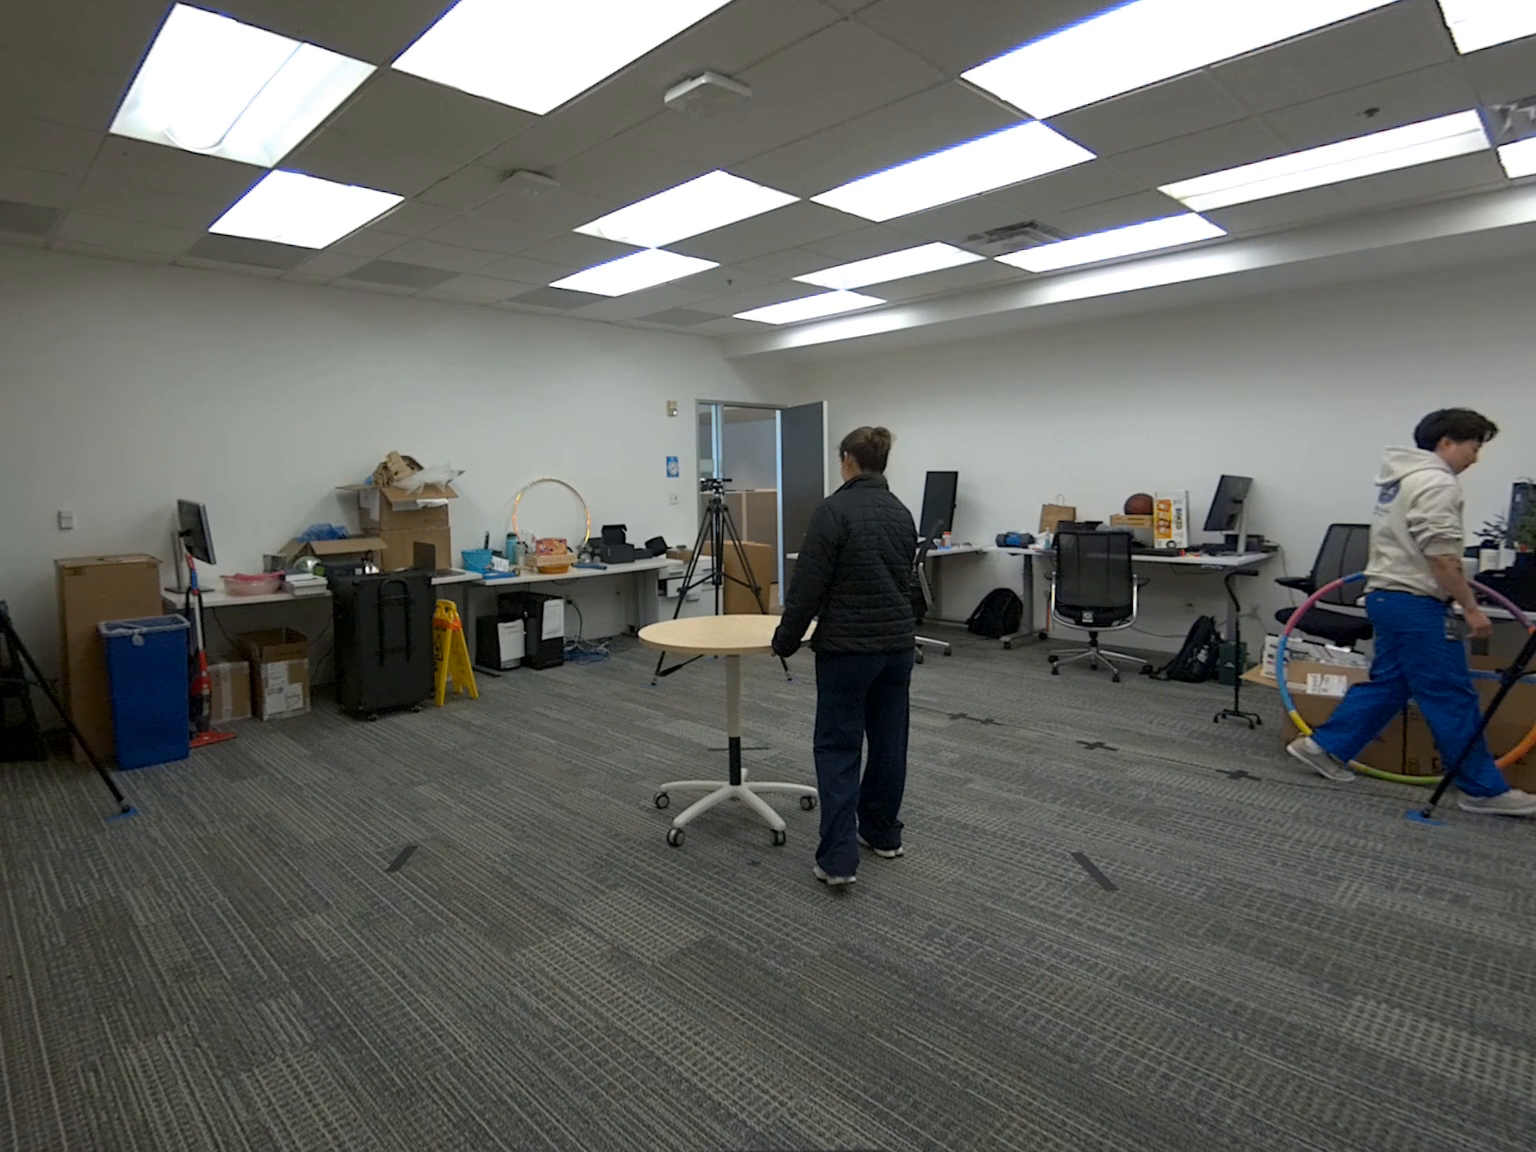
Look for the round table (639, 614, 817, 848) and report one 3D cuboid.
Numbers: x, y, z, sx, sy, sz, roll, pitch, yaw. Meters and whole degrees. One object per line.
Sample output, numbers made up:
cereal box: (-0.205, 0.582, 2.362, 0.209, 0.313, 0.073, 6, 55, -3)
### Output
round table: (-0.142, 0.607, 3.510, 0.784, 0.784, 0.788, -1, 4, -2)
